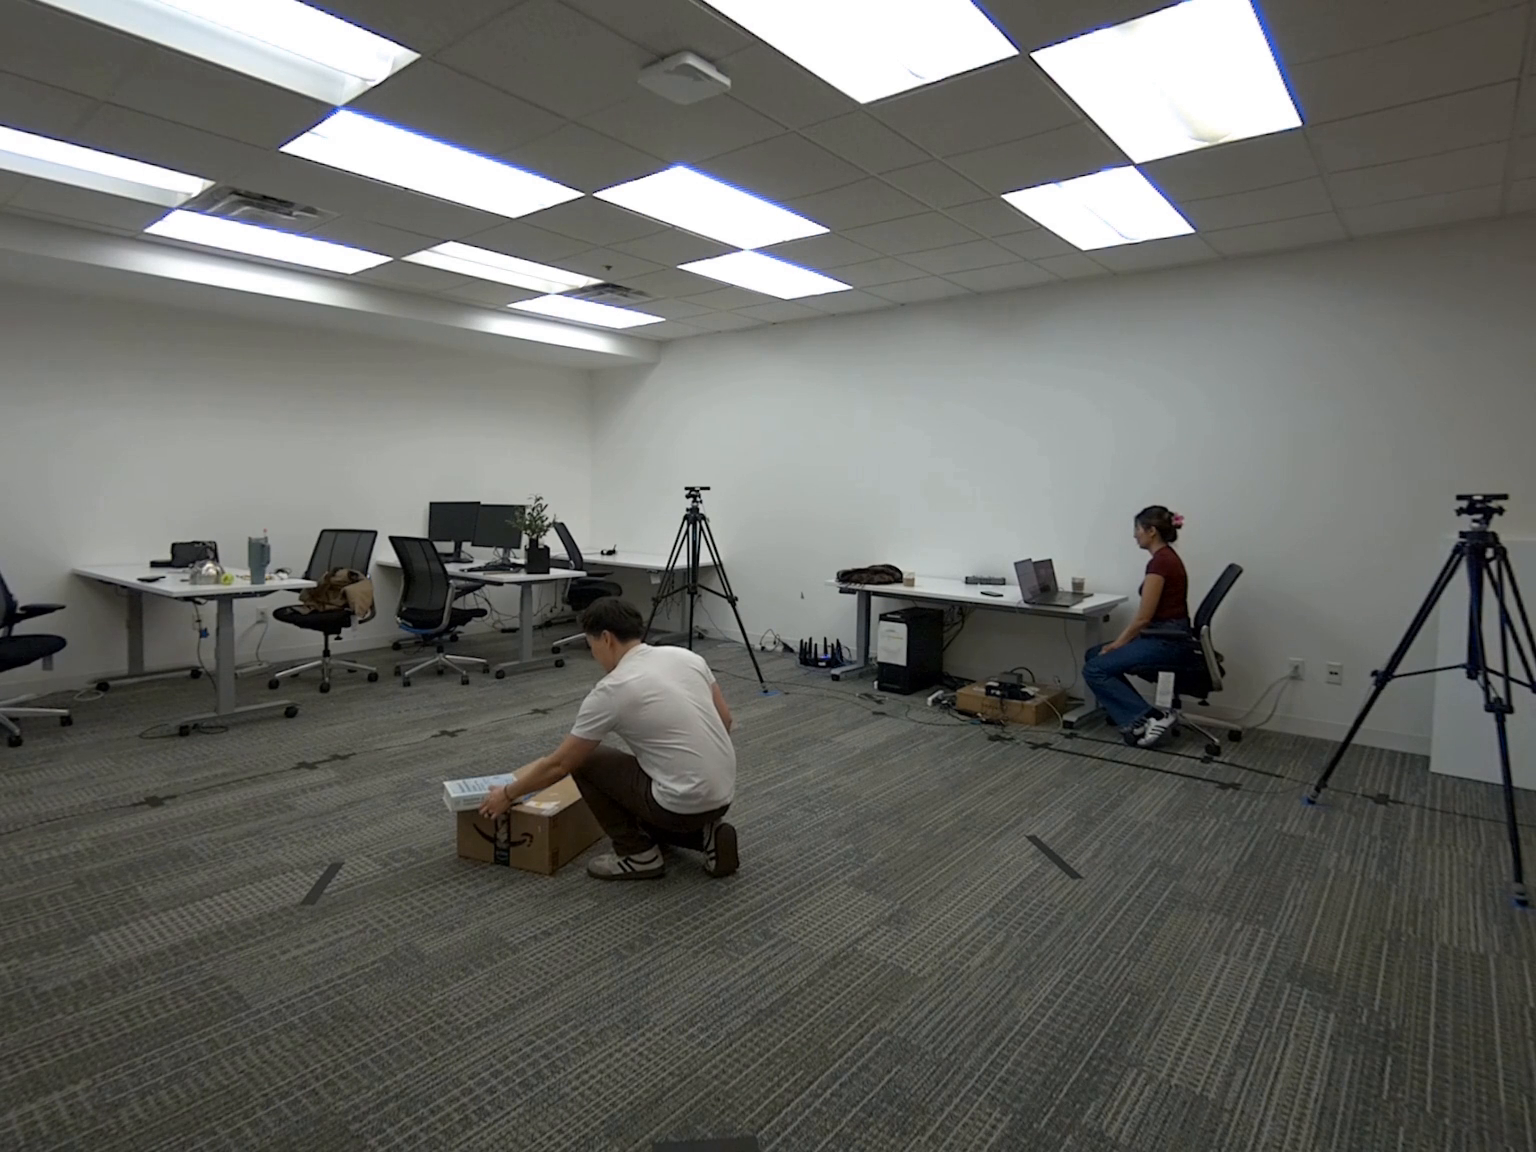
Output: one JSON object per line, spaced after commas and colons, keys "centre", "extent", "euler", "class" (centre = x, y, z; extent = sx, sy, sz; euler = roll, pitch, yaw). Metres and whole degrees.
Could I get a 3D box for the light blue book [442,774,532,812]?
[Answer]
{"centre": [-1.080, 0.805, 3.179], "extent": [0.254, 0.059, 0.197], "euler": [-1, 4, -28], "class": "light blue book"}
